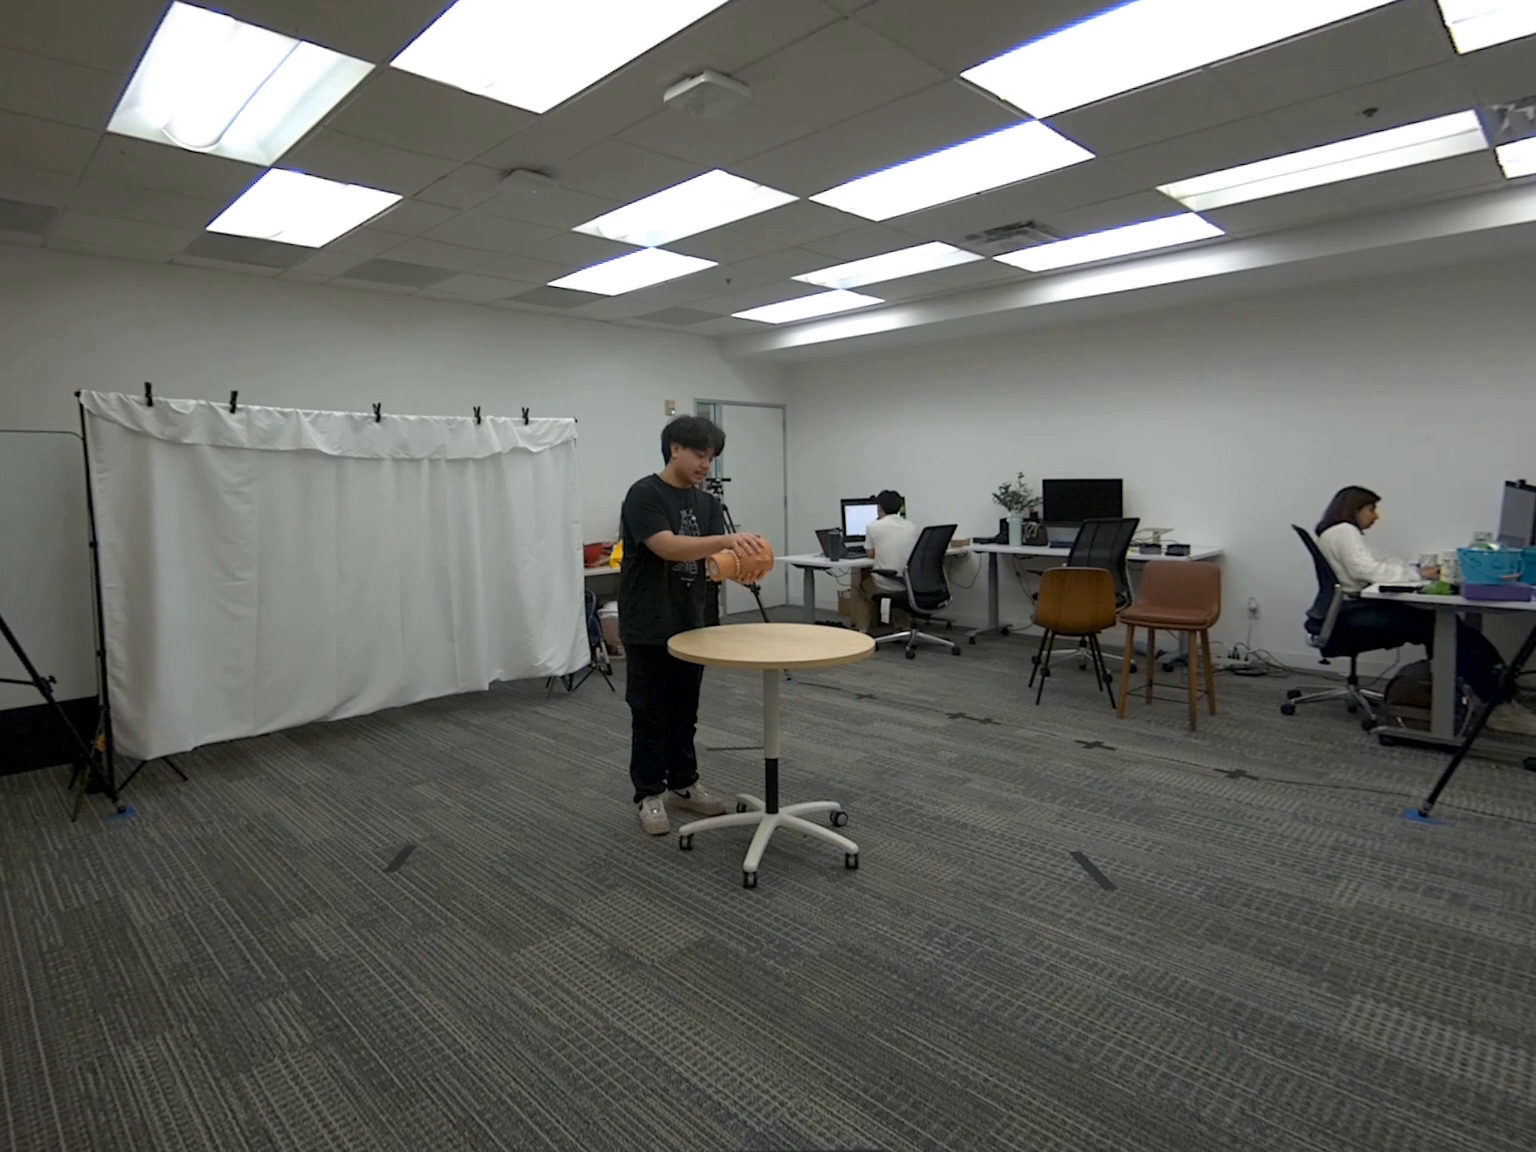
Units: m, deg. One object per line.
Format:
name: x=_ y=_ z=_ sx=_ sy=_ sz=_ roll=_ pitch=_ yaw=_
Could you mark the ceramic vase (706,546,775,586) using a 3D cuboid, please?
ceramic vase: x=-0.102 y=-0.057 z=3.140 sx=0.216 sy=0.139 sz=0.156 roll=-16 pitch=-33 yaw=-27
